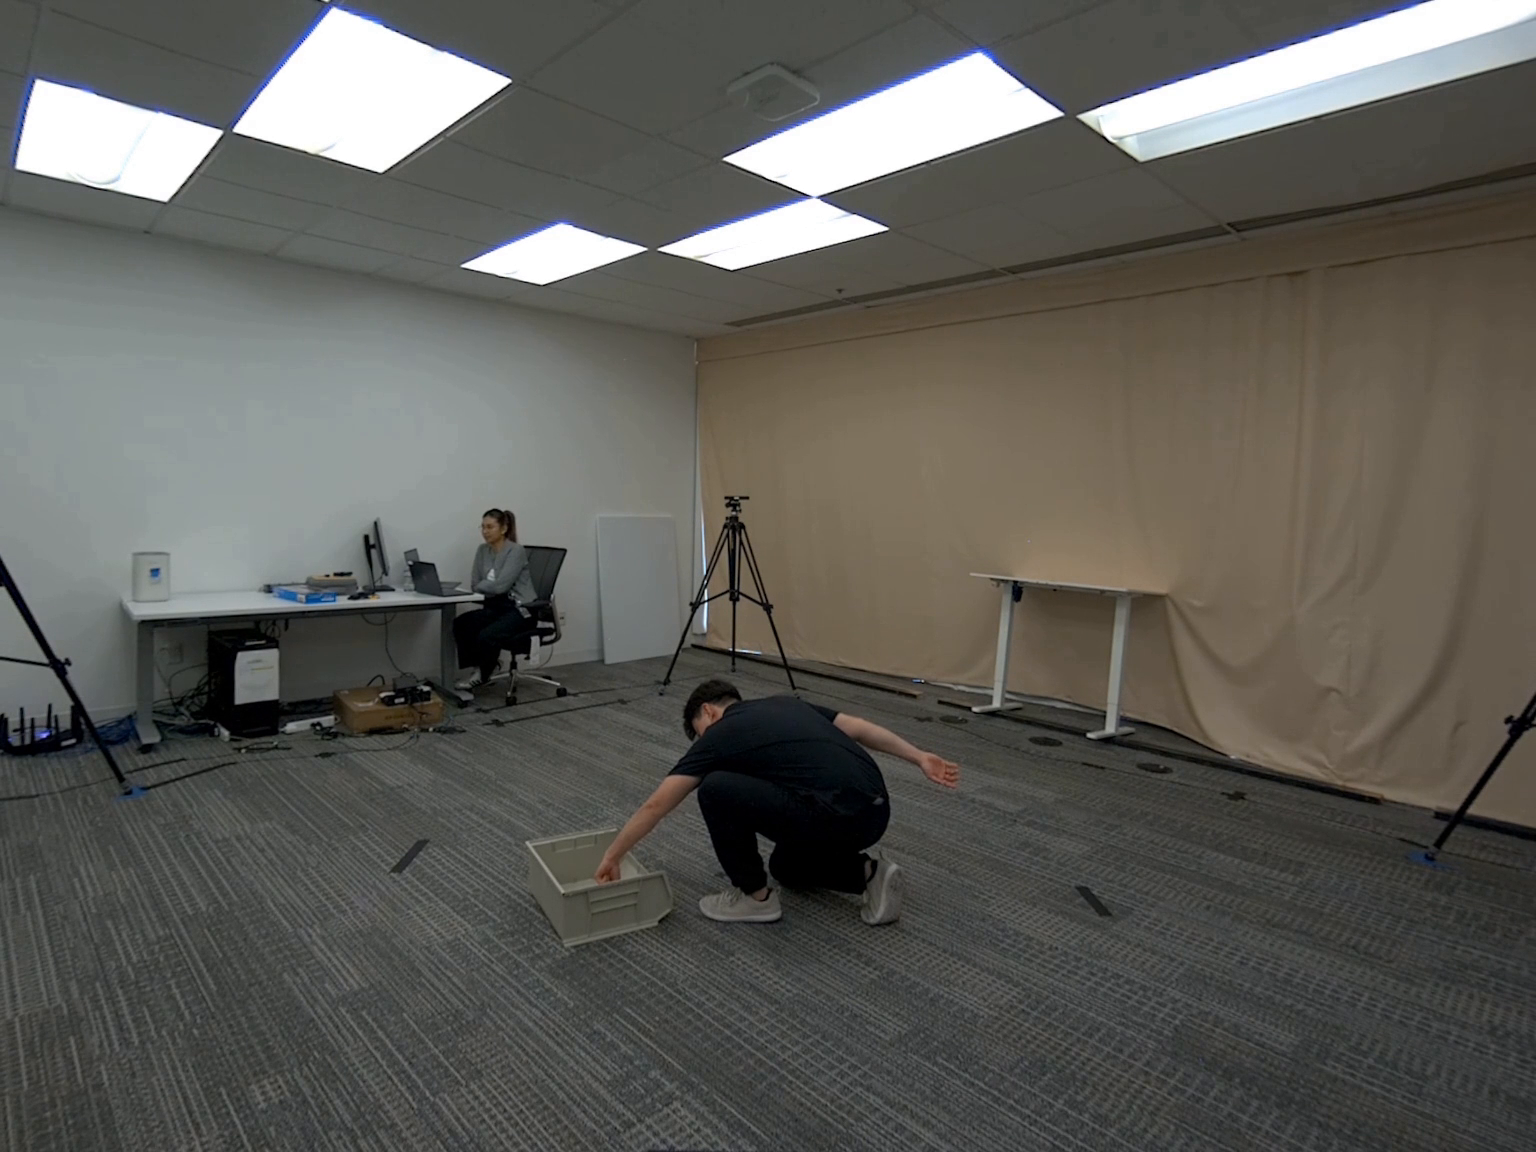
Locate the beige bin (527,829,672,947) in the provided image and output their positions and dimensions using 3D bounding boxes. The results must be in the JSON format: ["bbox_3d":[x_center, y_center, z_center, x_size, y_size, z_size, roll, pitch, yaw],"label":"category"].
[{"bbox_3d":[-0.576,1.024,2.839,0.370,0.188,0.432,-2,7,-30],"label":"beige bin"}]
